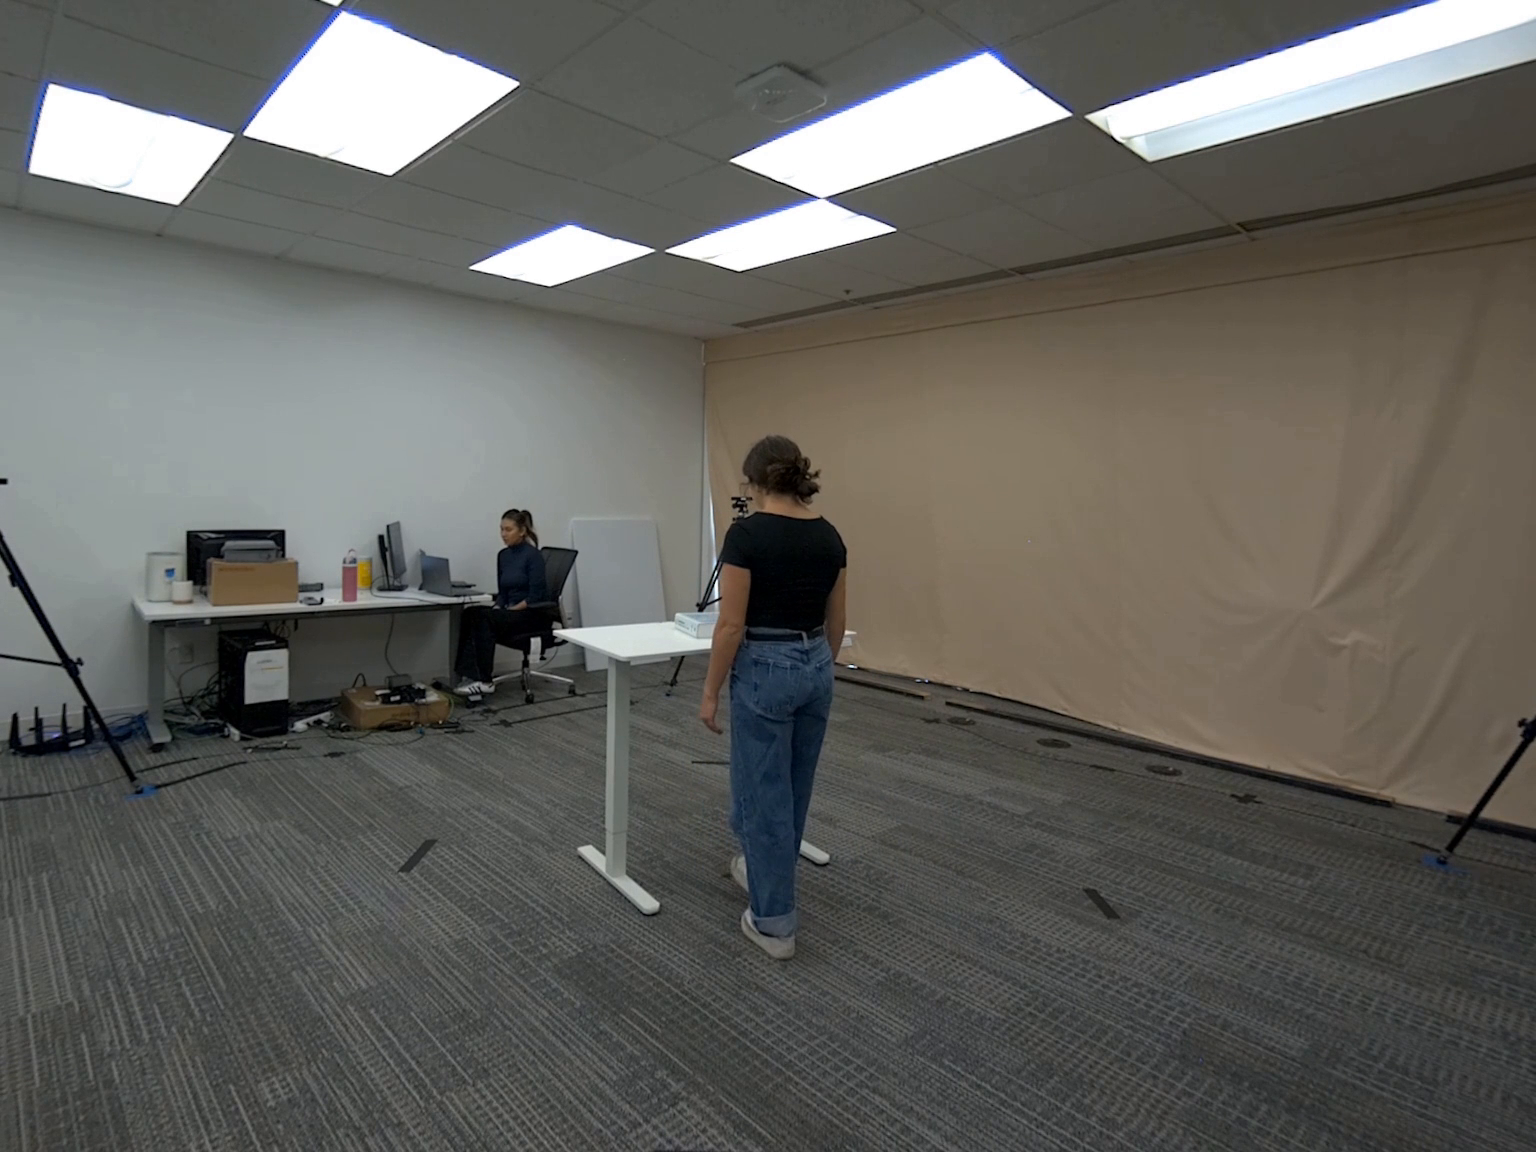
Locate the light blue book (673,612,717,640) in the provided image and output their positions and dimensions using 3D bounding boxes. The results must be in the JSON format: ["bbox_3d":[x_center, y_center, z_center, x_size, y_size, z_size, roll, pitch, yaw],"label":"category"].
[{"bbox_3d":[-0.230,0.185,3.220,0.188,0.059,0.266,-2,6,-24],"label":"light blue book"}]
